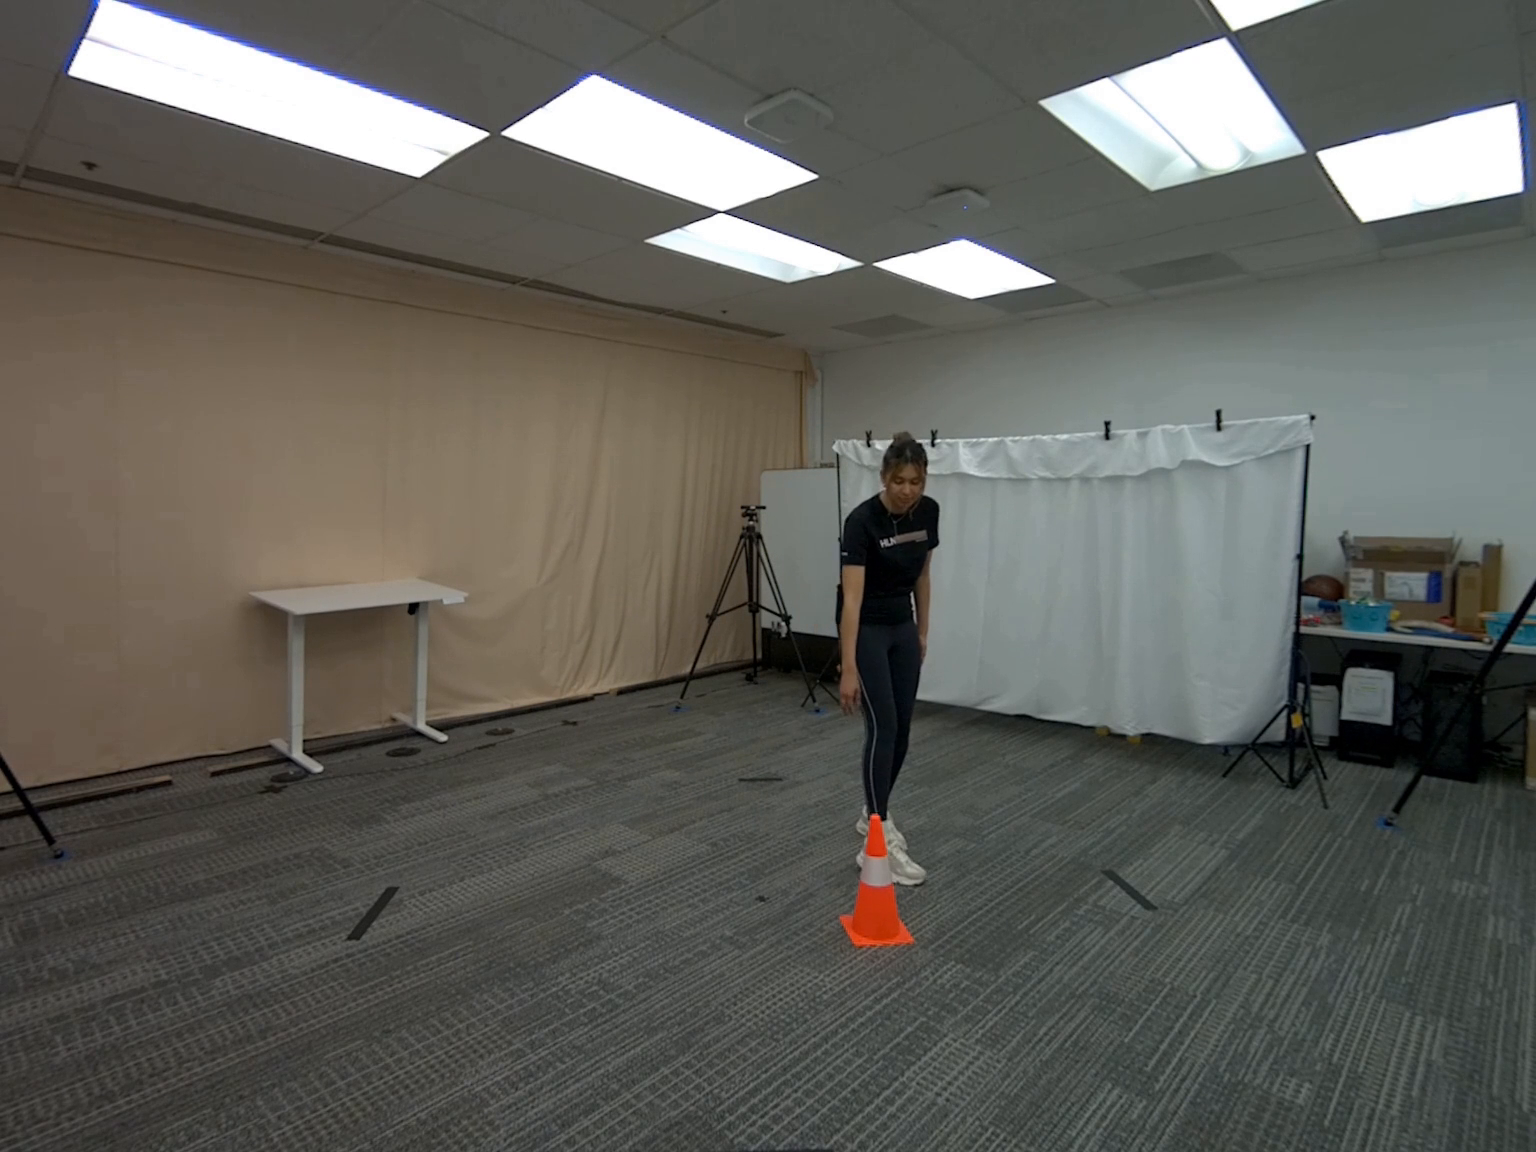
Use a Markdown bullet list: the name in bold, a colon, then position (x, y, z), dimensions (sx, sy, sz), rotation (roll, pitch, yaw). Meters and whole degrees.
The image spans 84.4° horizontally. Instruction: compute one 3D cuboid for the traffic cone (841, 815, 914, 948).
- **traffic cone**: position (0.360, 0.973, 2.758), dimensions (0.201, 0.383, 0.207), rotation (0, 2, -11)
